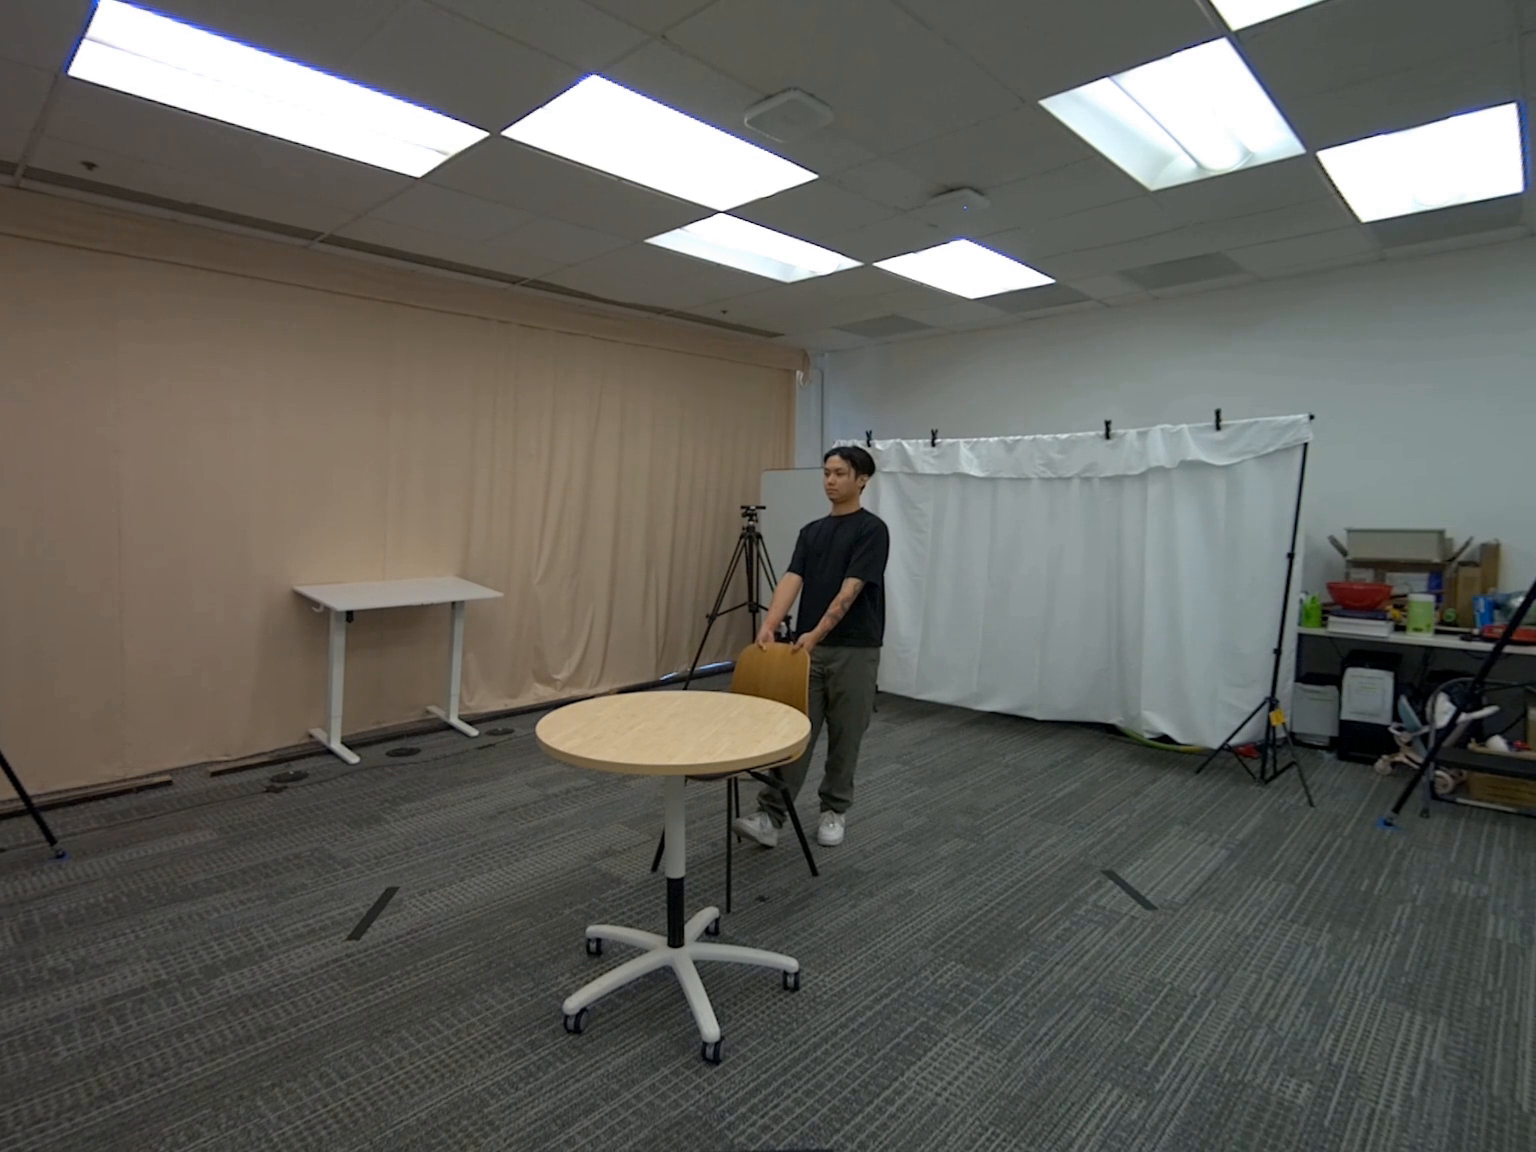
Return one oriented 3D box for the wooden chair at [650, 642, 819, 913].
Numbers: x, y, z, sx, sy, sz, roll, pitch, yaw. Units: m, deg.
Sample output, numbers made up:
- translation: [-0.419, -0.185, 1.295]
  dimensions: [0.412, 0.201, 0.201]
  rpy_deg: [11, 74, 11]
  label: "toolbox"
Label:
- translation: [-0.132, 0.702, 3.150]
  dimensions: [0.506, 0.877, 0.494]
  rpy_deg: [3, 1, -42]
  label: "wooden chair"
